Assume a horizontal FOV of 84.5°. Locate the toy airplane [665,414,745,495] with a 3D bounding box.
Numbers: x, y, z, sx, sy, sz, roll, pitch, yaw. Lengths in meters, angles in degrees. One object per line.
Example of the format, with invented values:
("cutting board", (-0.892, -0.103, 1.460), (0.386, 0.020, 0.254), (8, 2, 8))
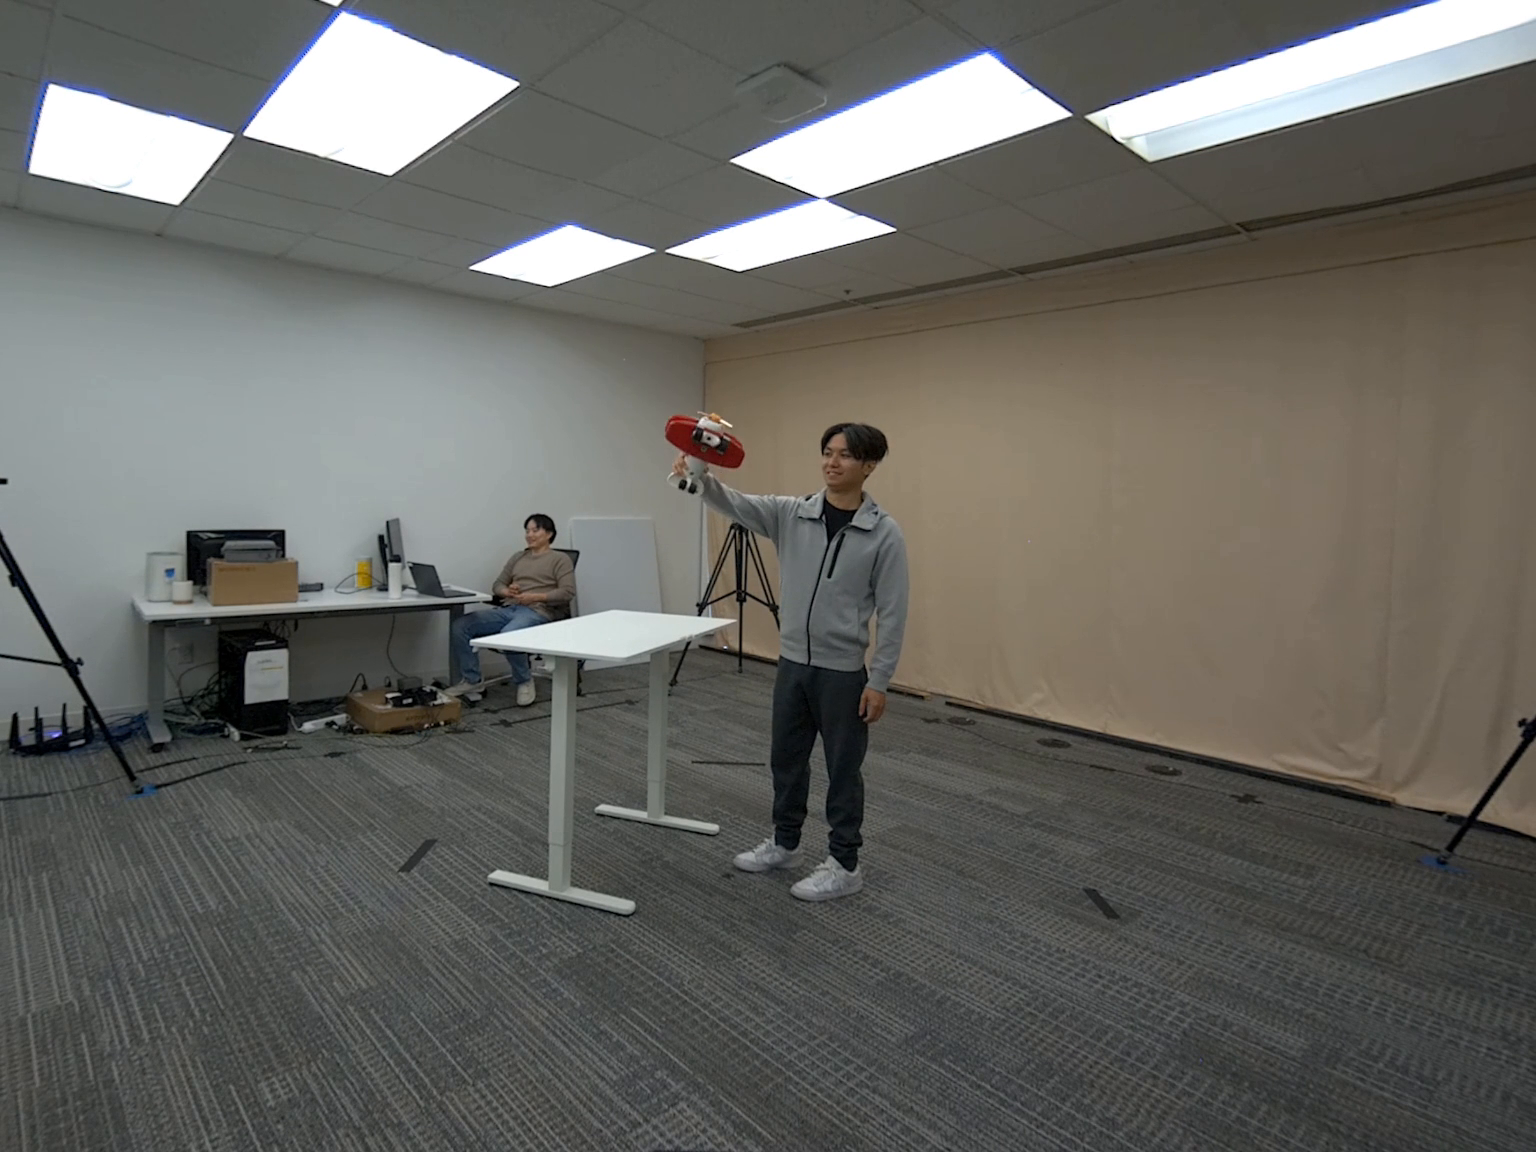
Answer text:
("toy airplane", (-0.232, -0.382, 2.632), (0.260, 0.244, 0.159), (-32, 30, 21))
